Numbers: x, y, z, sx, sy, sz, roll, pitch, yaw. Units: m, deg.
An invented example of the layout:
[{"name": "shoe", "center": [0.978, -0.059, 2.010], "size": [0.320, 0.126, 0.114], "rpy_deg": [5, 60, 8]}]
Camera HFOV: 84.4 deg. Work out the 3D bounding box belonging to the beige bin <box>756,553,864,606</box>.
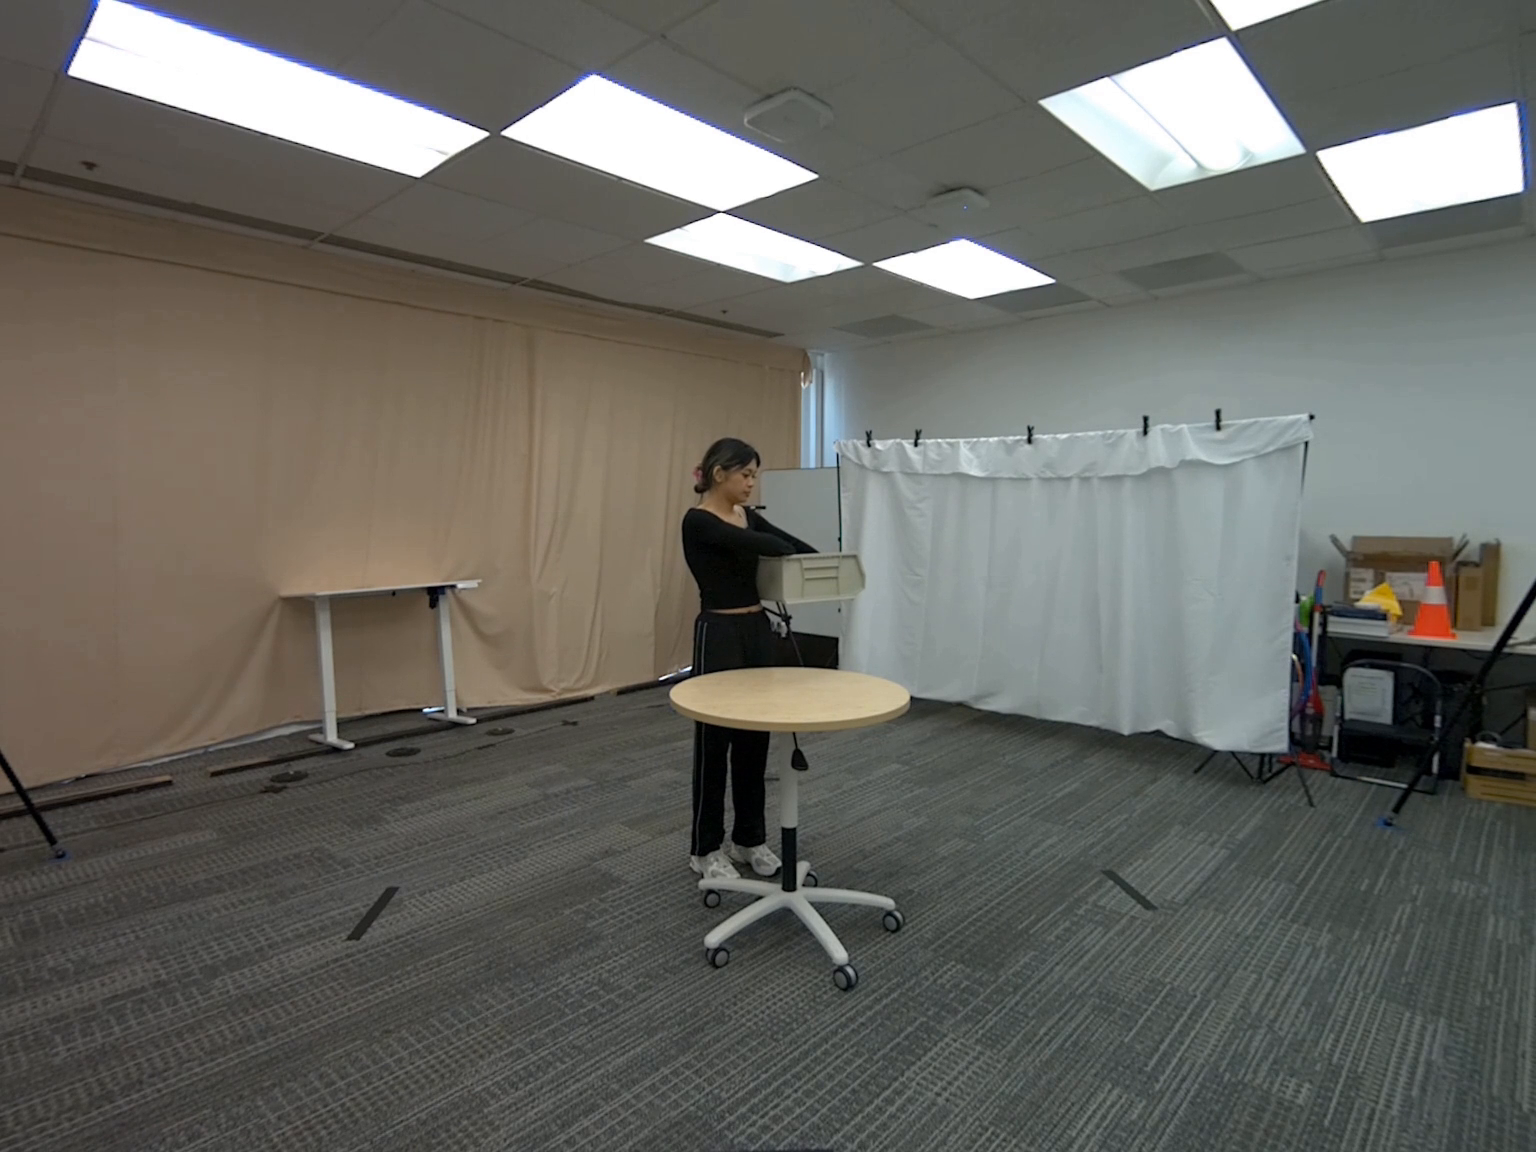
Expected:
[{"name": "beige bin", "center": [0.111, 0.001, 3.318], "size": [0.367, 0.189, 0.434], "rpy_deg": [-3, 3, -30]}]
